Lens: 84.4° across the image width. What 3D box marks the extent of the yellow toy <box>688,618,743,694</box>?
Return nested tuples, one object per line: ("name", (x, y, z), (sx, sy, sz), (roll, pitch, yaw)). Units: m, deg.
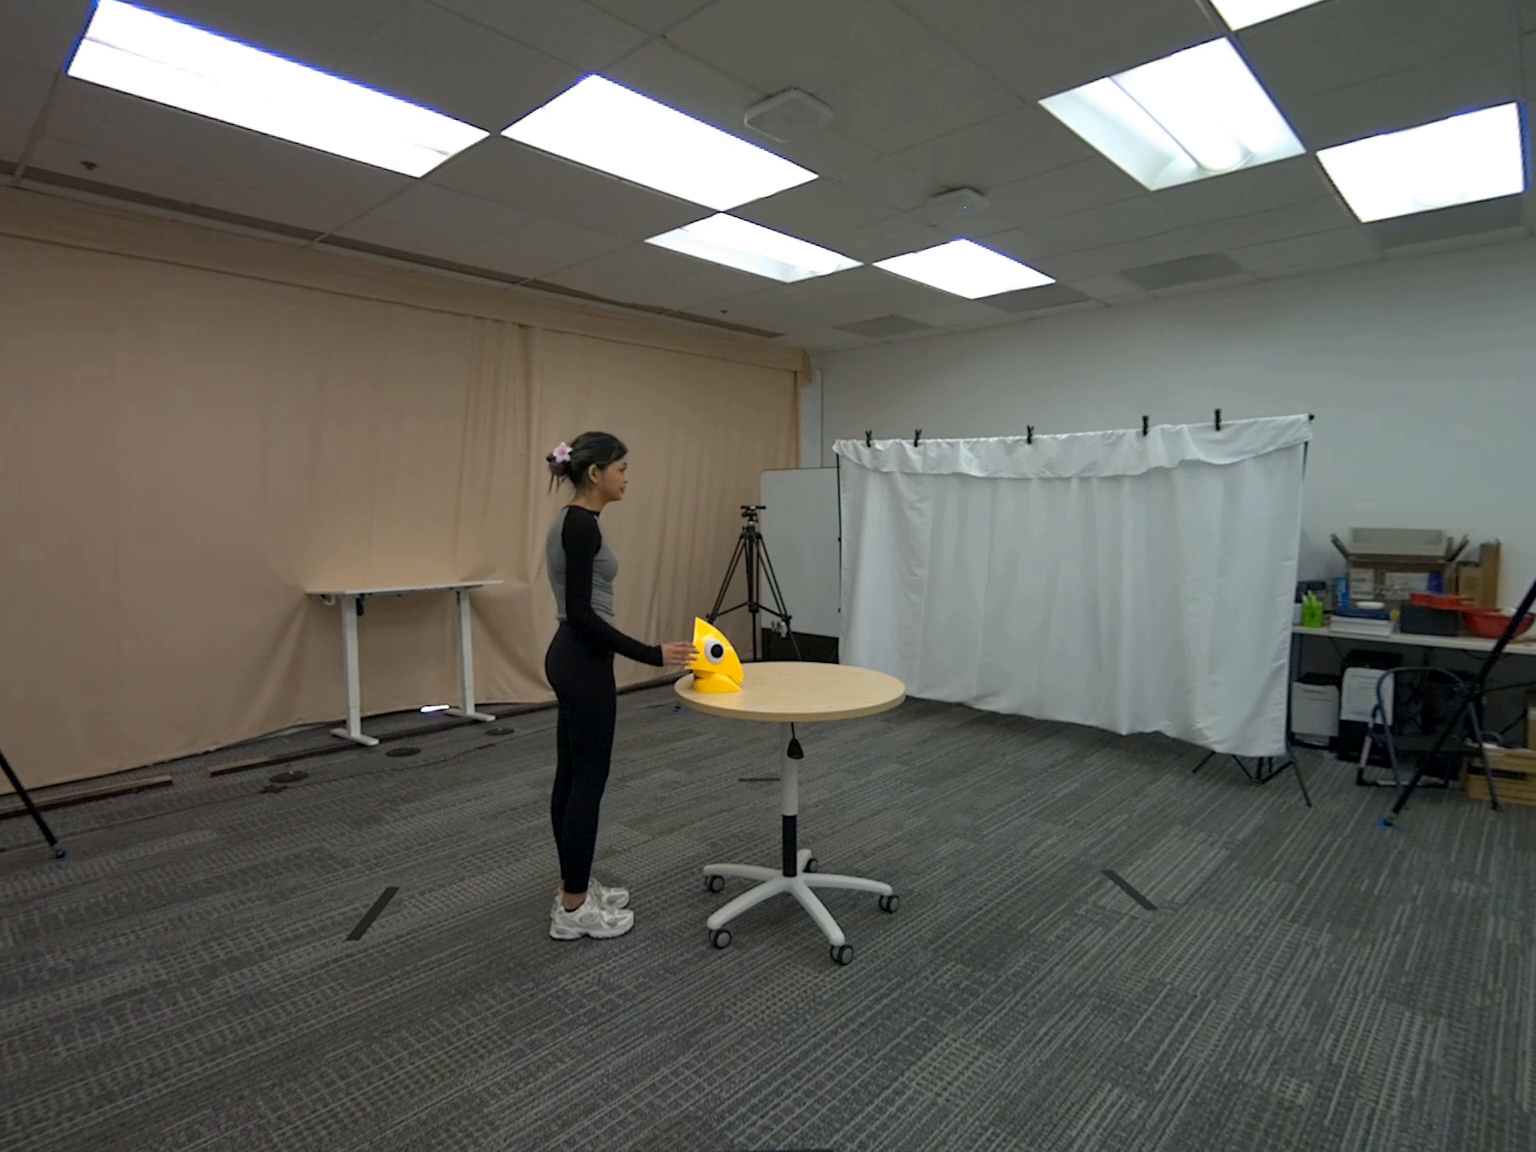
("yellow toy", (-0.175, 0.253, 2.800), (0.194, 0.230, 0.205), (0, 4, 2))
